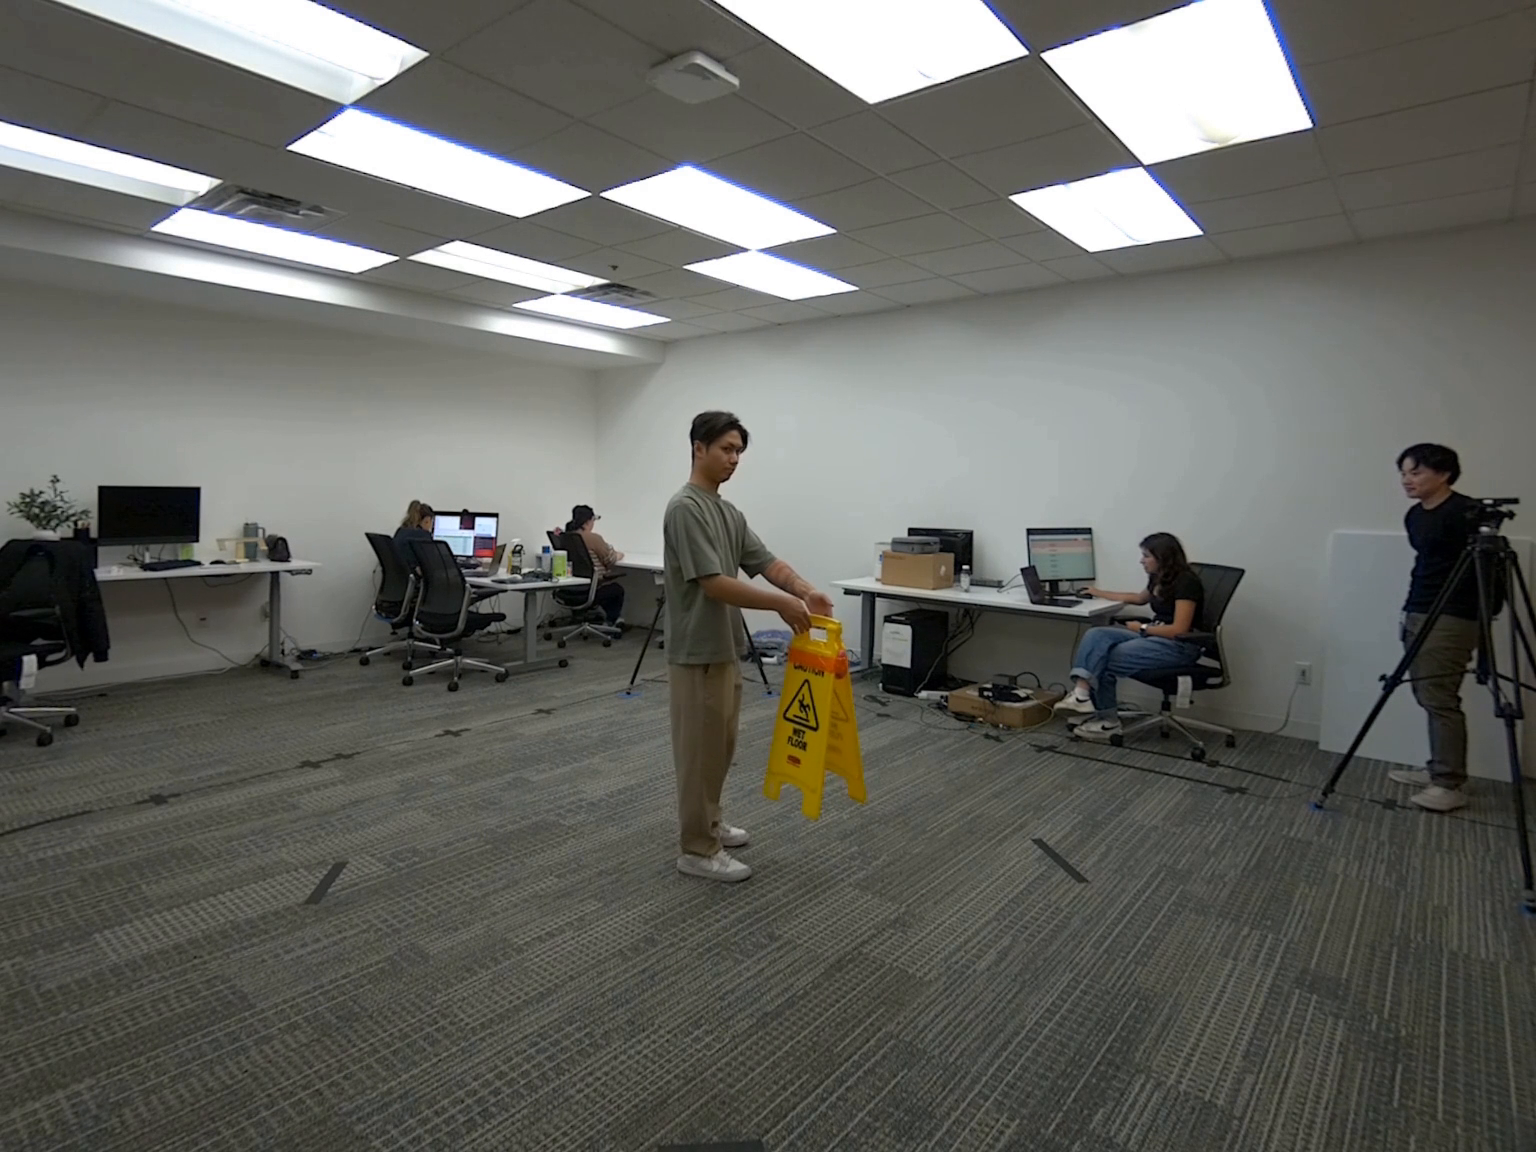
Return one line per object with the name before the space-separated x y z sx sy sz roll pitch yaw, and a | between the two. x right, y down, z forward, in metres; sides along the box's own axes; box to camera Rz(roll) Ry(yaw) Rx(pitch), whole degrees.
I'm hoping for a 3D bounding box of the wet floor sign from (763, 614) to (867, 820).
wet floor sign | 0.163 0.467 2.967 0.281 0.643 0.292 -2 7 -41
